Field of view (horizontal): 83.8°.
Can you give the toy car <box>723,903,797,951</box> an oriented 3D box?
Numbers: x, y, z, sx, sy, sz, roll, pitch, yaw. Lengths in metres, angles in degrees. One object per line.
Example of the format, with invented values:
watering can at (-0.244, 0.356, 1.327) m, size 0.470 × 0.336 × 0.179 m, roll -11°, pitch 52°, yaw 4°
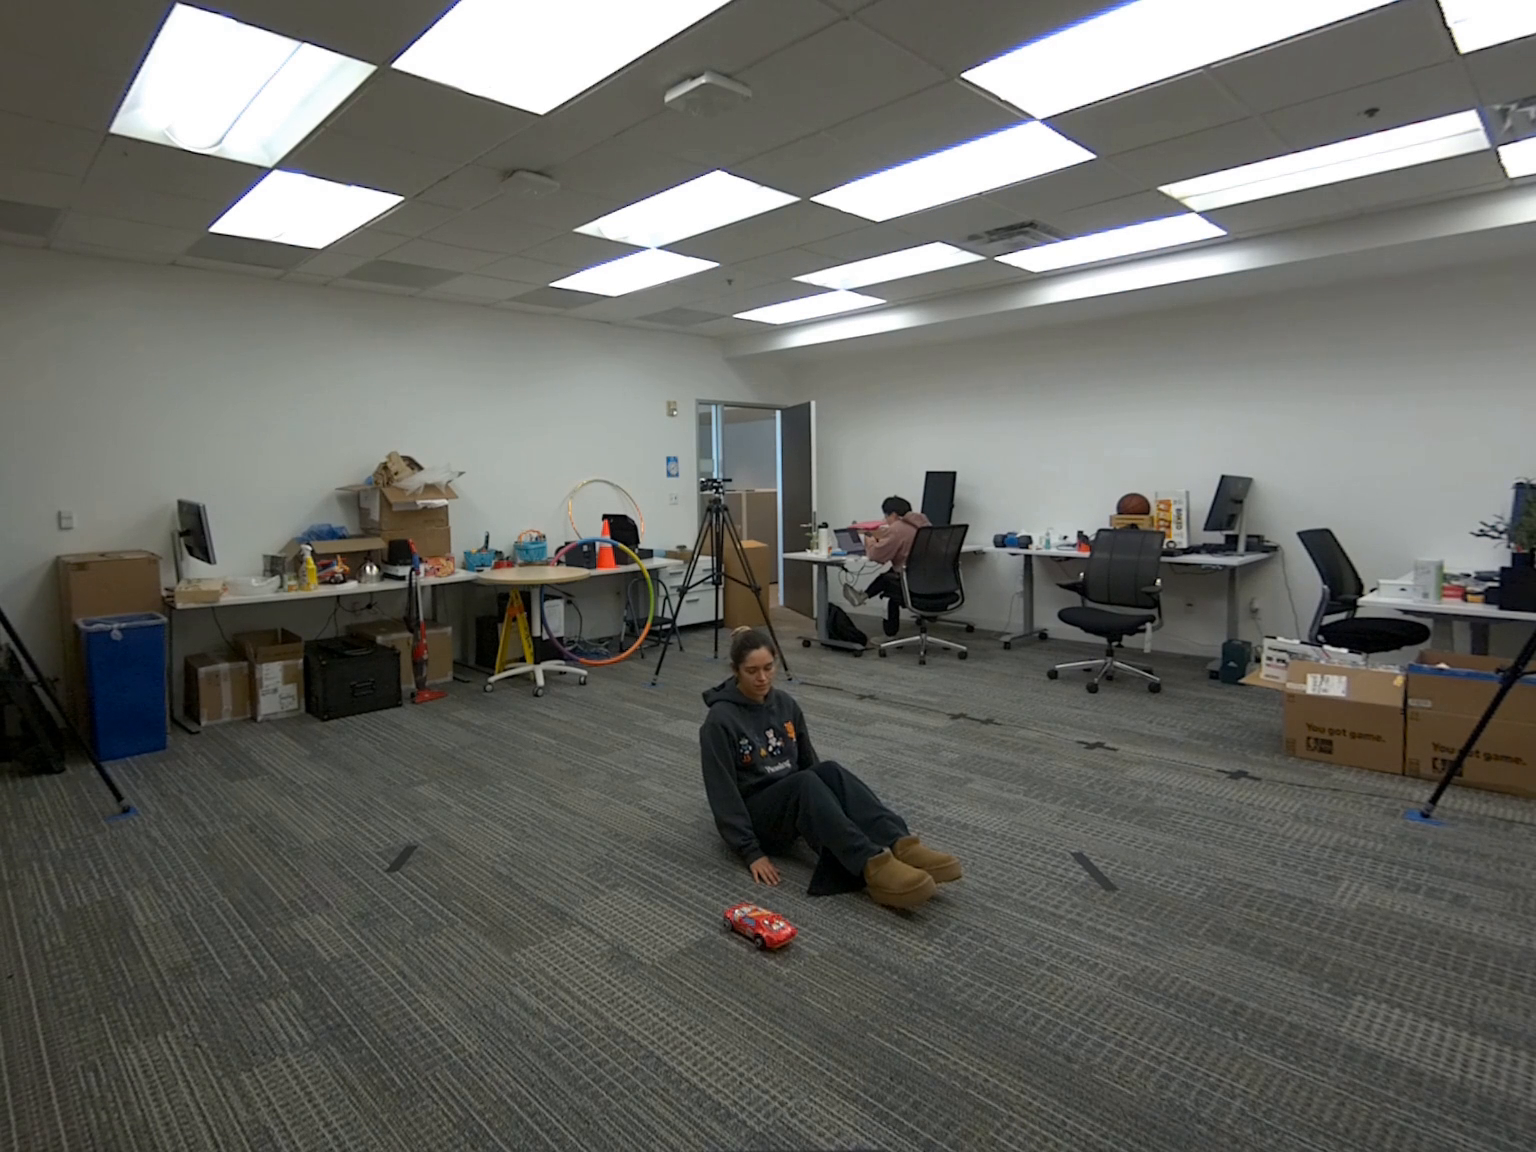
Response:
toy car at (-0.019, 1.074, 2.590) m, size 0.127 × 0.083 × 0.260 m, roll -7°, pitch -2°, yaw -42°
